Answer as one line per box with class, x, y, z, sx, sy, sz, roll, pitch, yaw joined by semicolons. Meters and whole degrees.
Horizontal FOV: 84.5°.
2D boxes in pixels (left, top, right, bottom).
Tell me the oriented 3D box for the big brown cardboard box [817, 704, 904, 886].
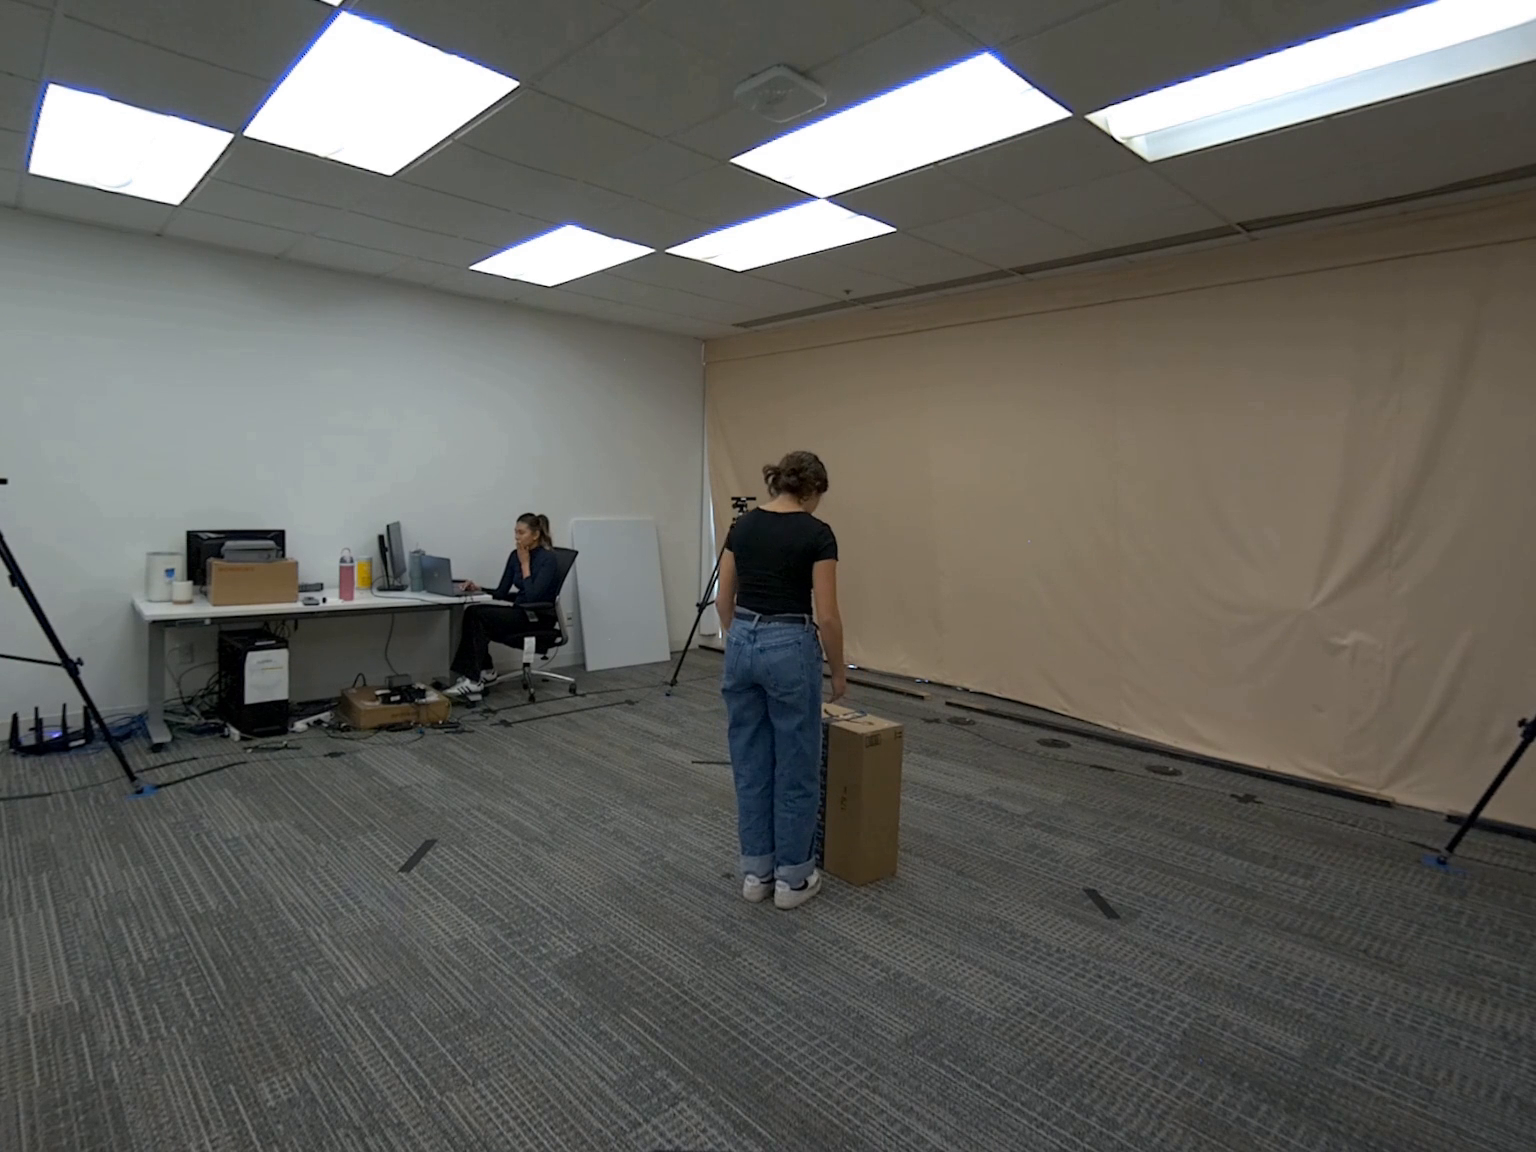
big brown cardboard box;0.276;0.814;3.243;0.228;0.587;0.428;0;5;-39
